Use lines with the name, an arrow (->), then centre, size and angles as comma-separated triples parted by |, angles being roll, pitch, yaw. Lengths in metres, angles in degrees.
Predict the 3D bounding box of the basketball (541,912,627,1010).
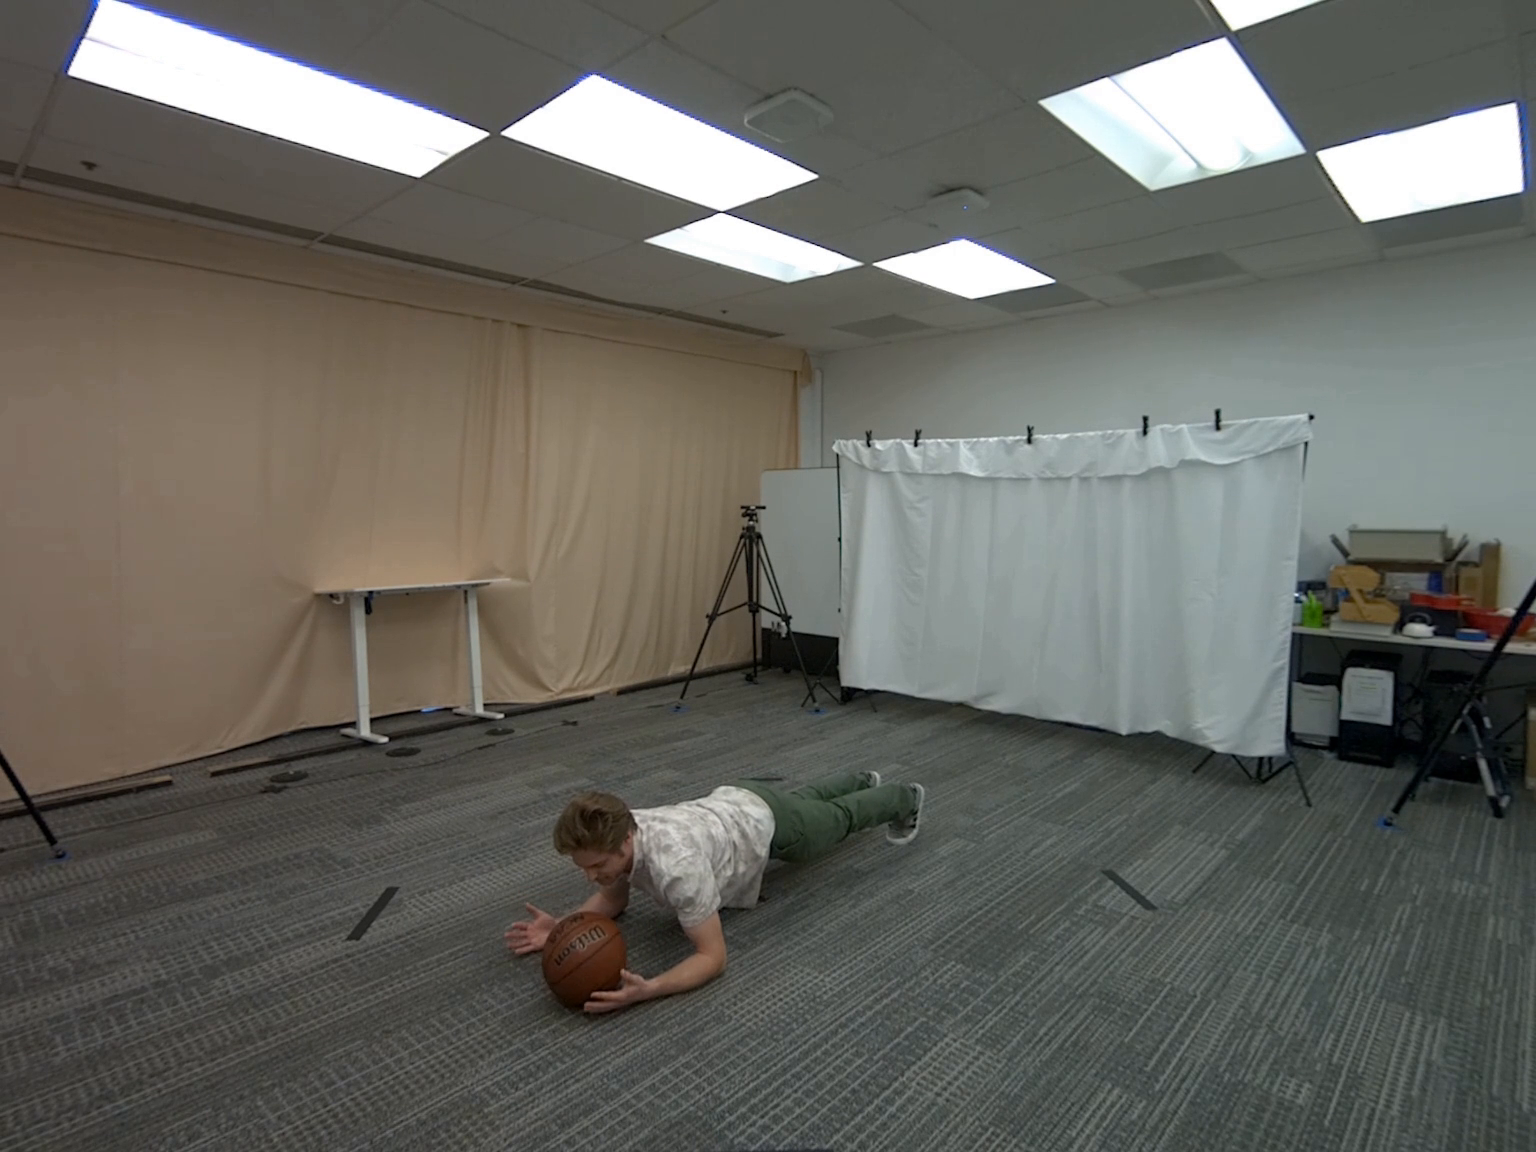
basketball -> -0.517, 1.067, 2.383 | 0.236, 0.235, 0.237 | 0, 4, -2
